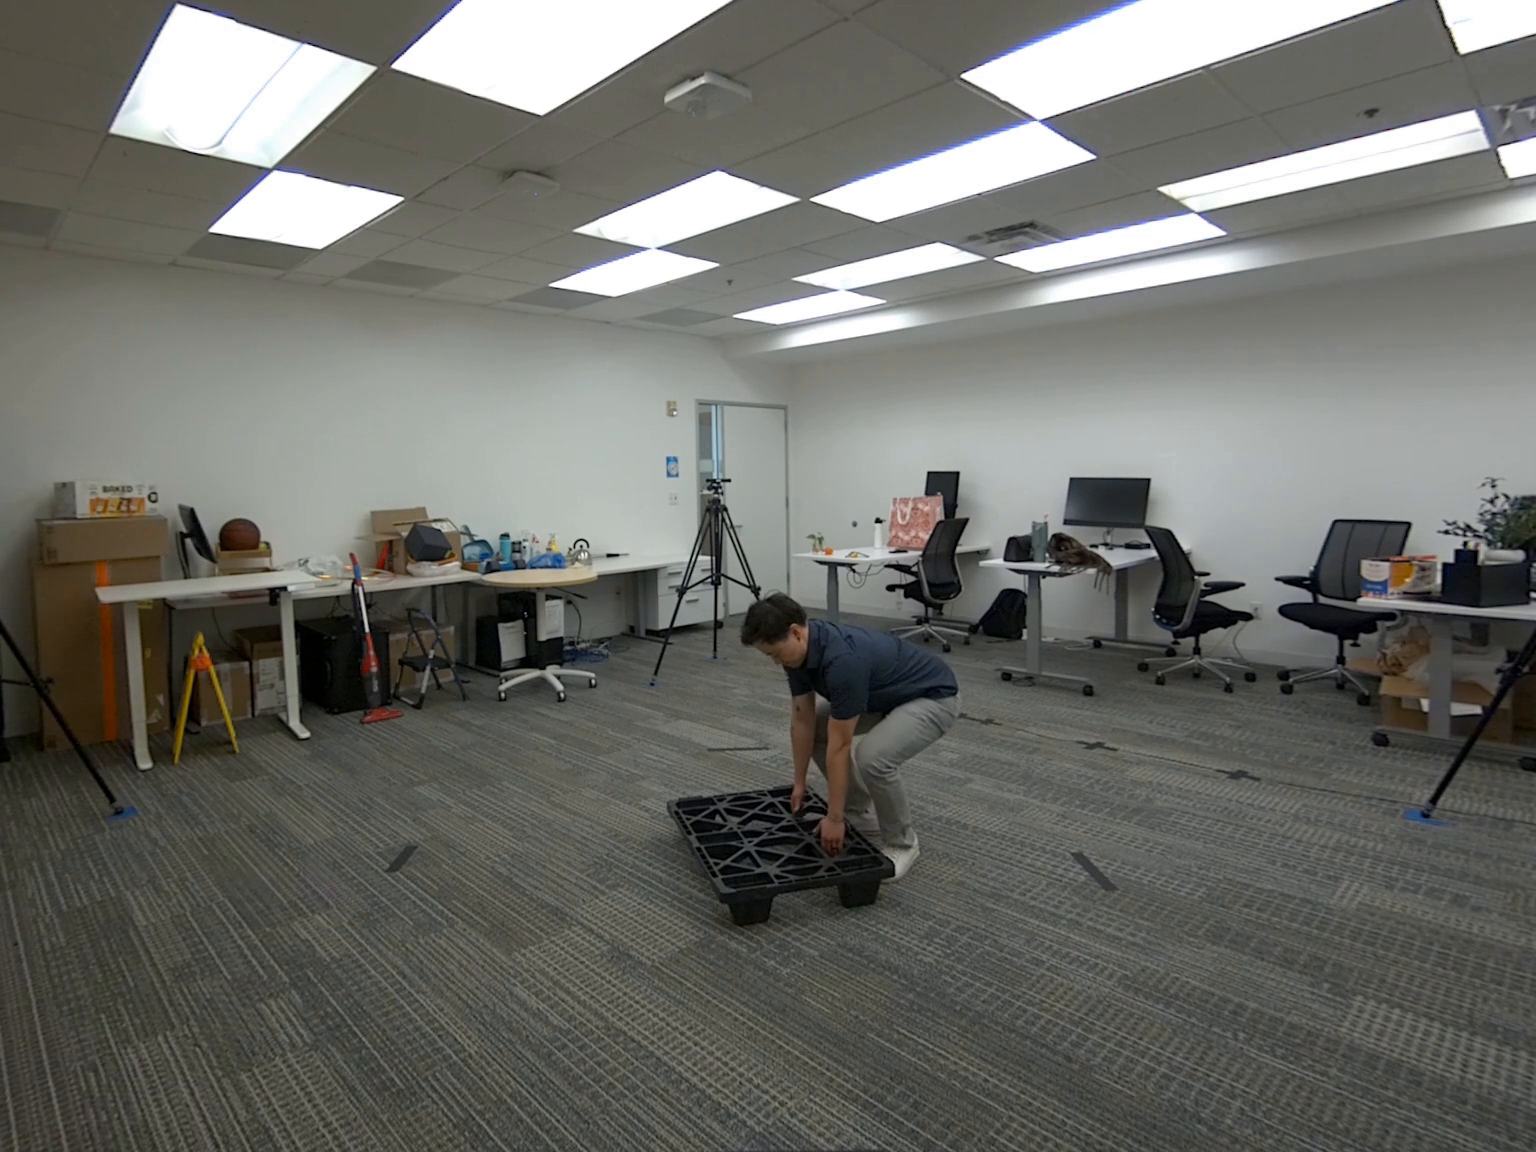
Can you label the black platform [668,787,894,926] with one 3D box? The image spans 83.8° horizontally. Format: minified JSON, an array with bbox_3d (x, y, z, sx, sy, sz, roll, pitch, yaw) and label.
[{"bbox_3d":[0.007,0.979,3.073,0.596,0.142,0.822,-4,7,-17],"label":"black platform"}]
